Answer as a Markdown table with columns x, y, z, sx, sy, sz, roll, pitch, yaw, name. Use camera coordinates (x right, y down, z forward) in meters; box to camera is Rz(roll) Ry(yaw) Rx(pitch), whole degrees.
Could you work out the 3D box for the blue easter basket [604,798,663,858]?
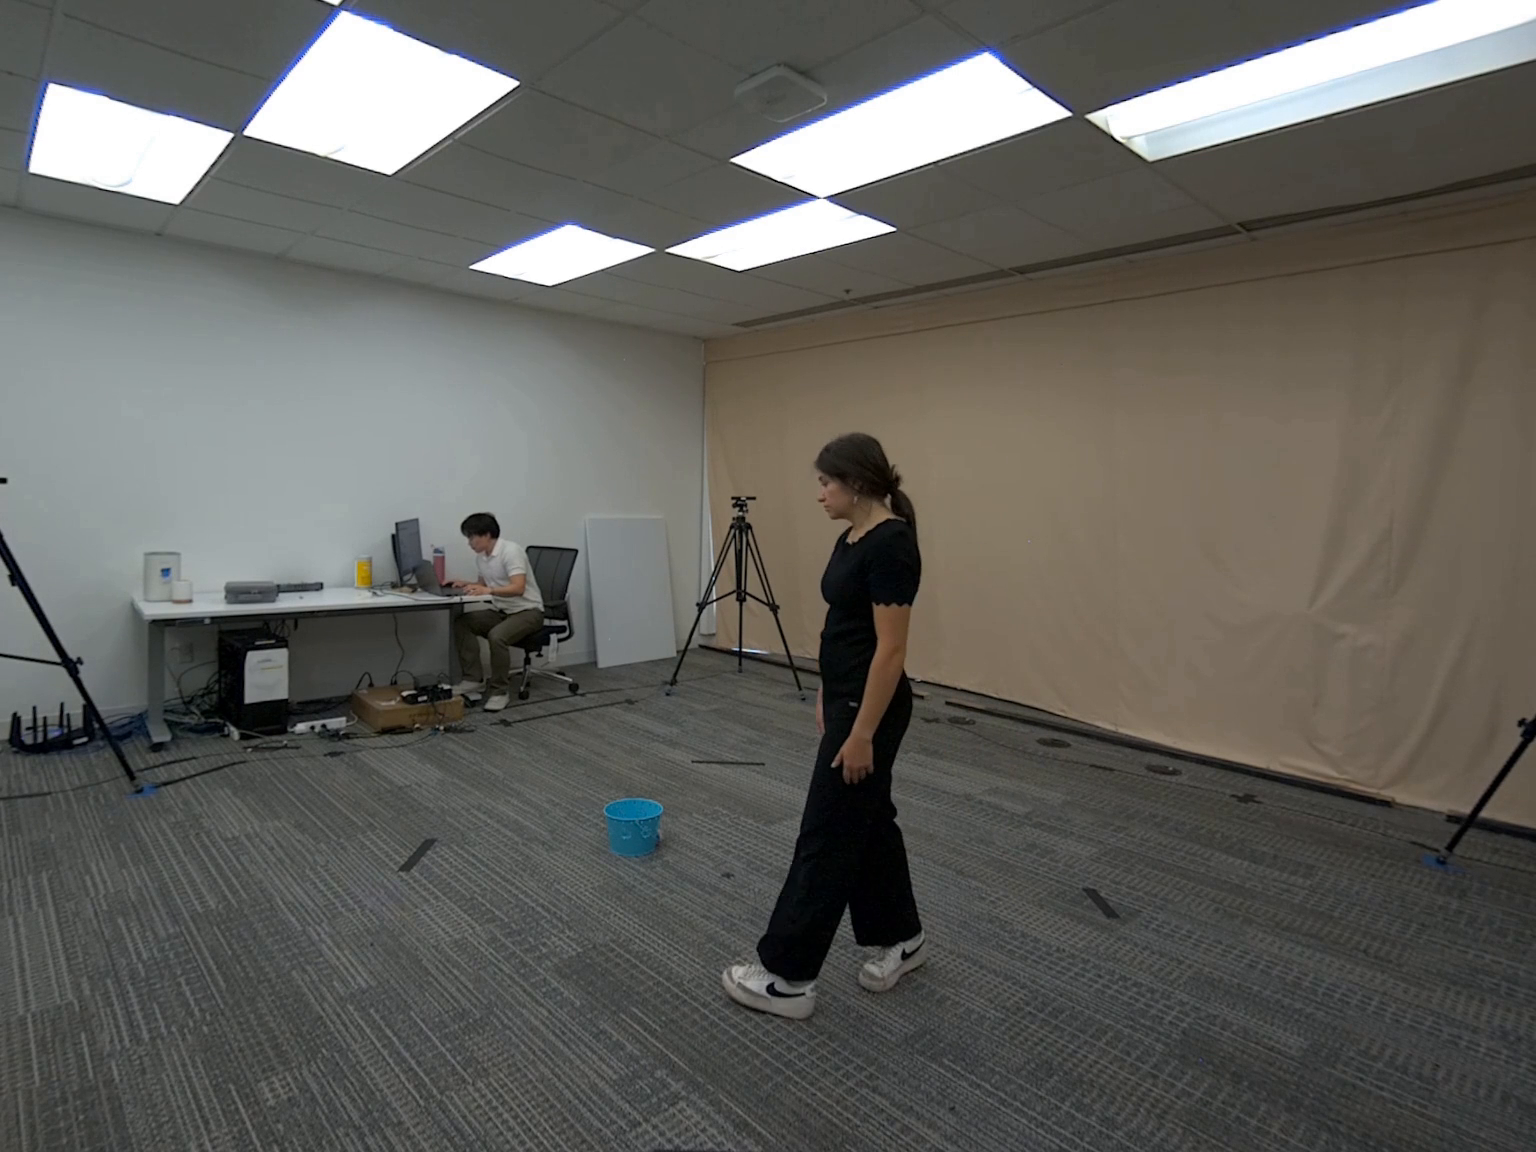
| x | y | z | sx | sy | sz | roll | pitch | yaw | name |
| --- | --- | --- | --- | --- | --- | --- | --- | --- | --- |
| -0.537 | 0.994 | 3.342 | 0.243 | 0.155 | 0.244 | 0 | 4 | -1 | blue easter basket |
